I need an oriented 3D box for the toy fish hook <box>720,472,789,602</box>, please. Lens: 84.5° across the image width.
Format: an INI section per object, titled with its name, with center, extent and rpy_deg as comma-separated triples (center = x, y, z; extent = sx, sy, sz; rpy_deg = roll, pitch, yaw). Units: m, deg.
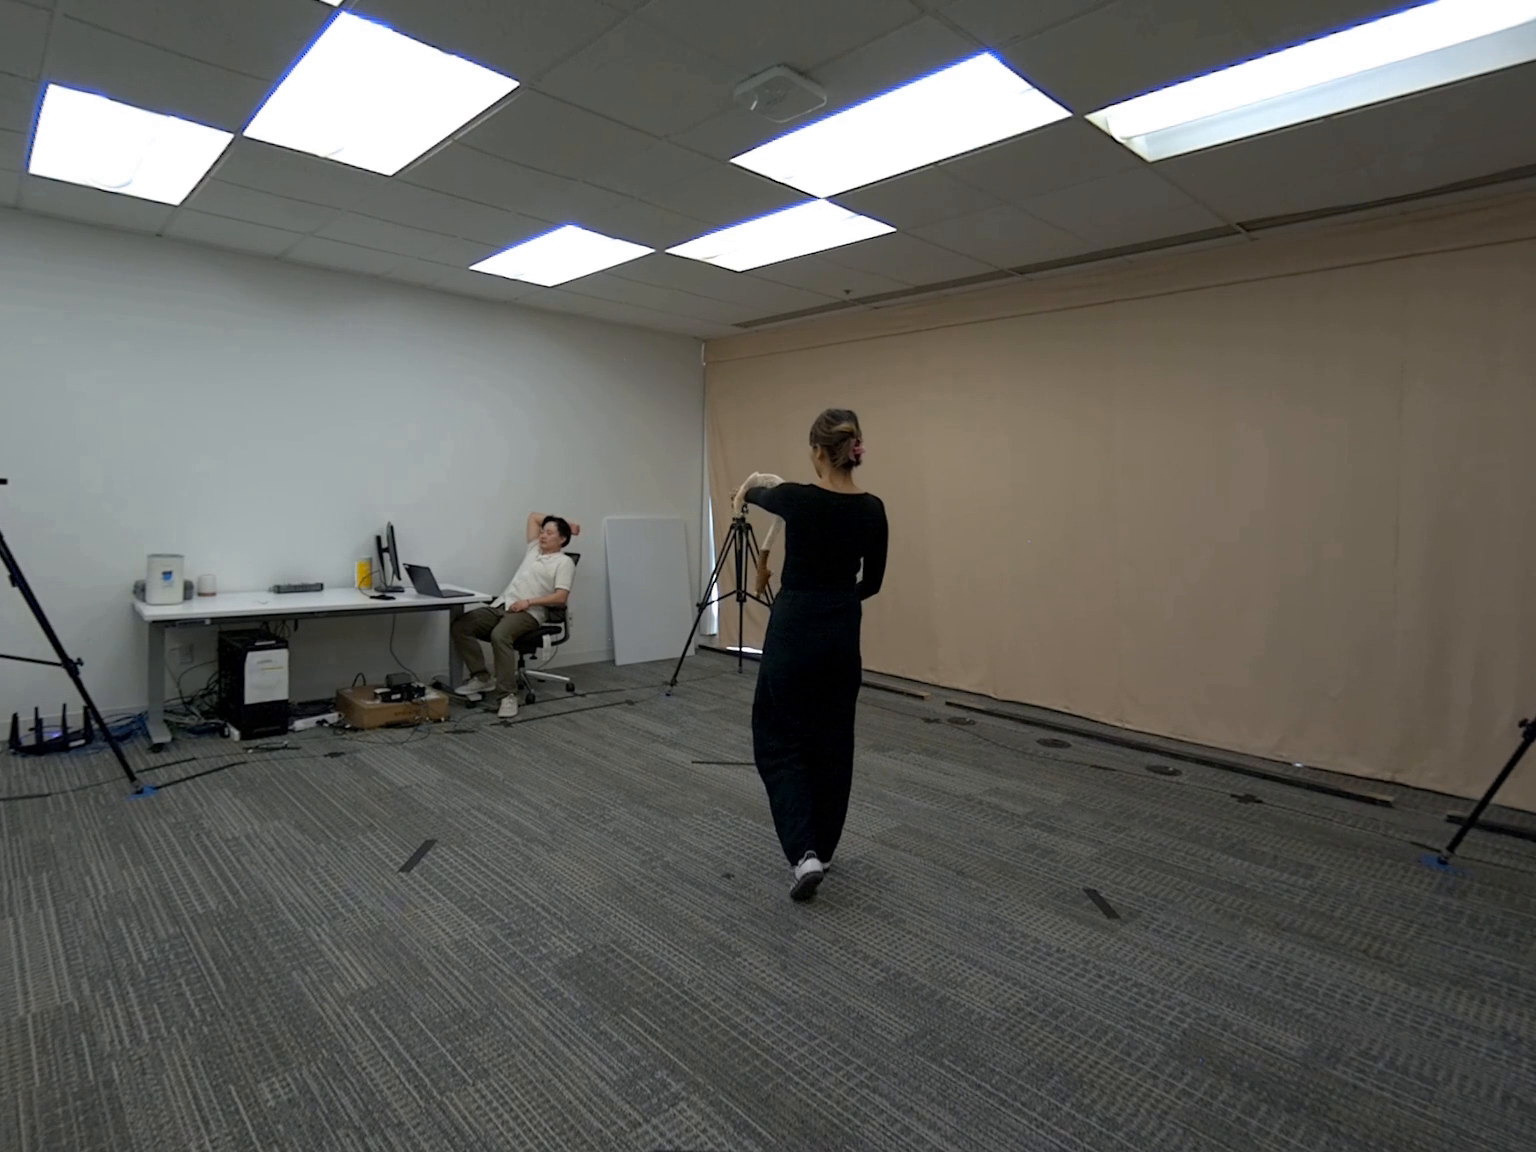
[toy fish hook]
center = -0.056, -0.162, 3.433
extent = 0.227, 0.507, 0.047
rpy_deg = 5, -3, 14
